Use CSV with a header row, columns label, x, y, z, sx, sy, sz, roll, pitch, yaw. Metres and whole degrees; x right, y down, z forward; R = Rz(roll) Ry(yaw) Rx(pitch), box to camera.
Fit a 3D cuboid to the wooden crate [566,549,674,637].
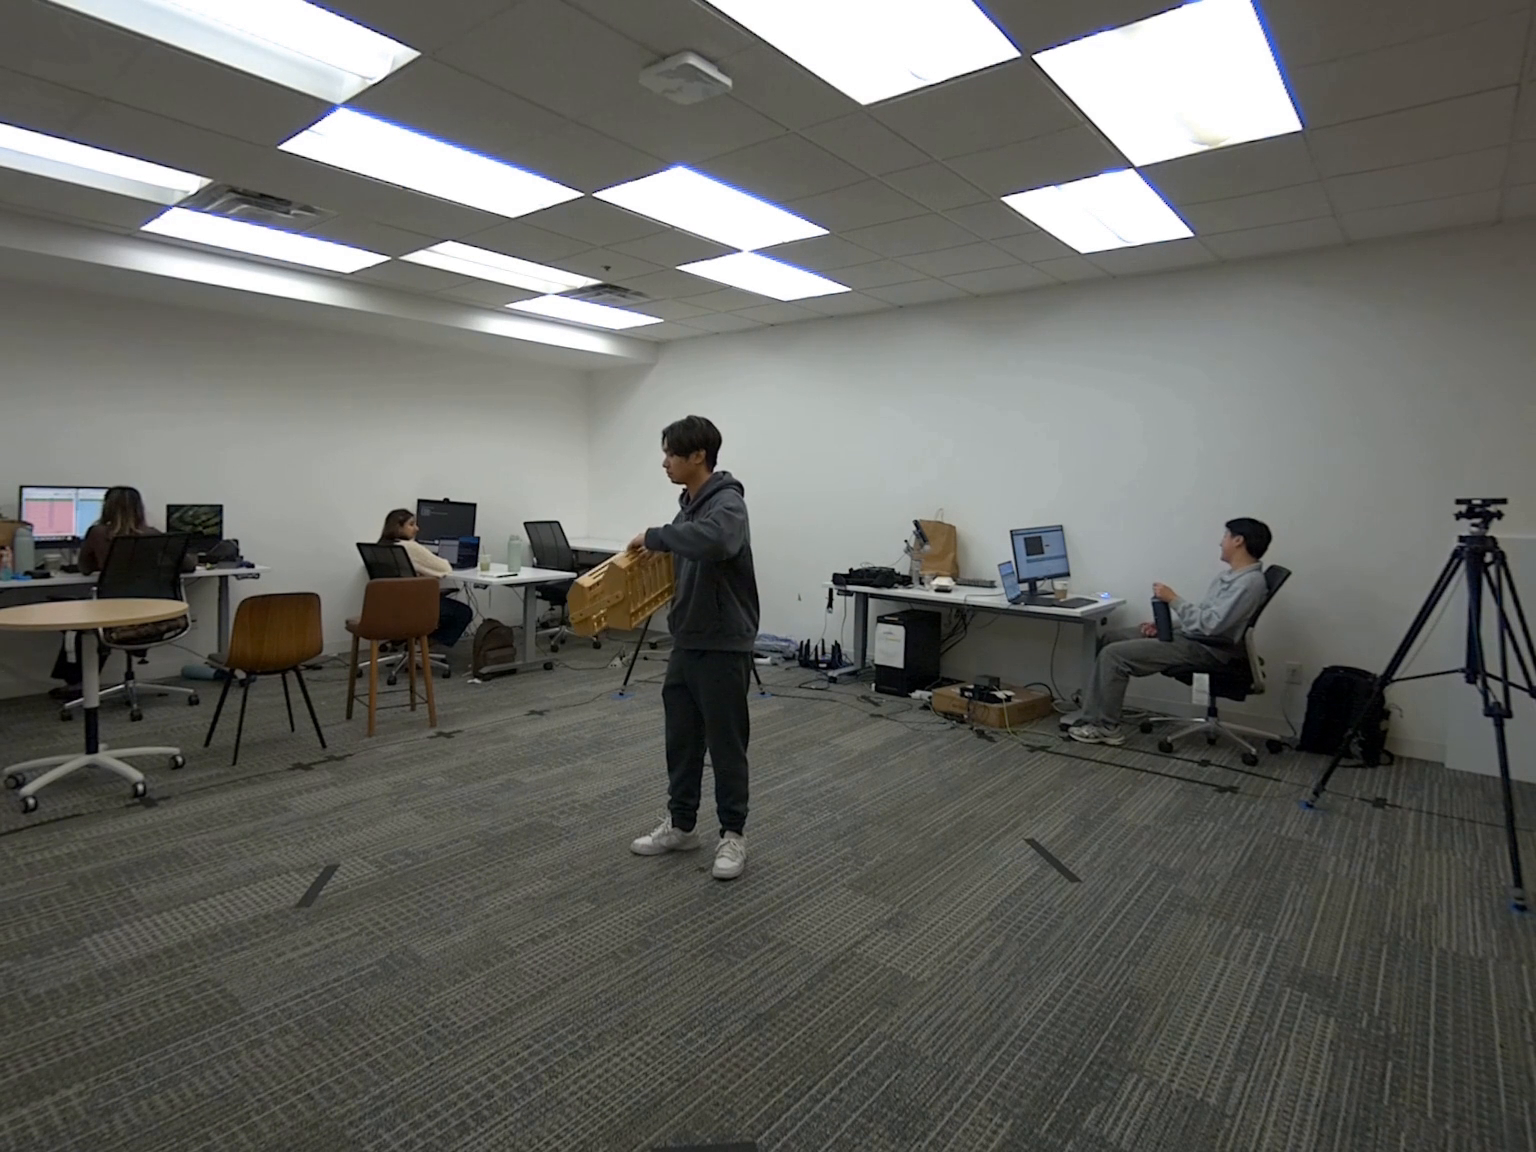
label,x,y,z,sx,sy,sz,roll,pitch,yaw
wooden crate,-0.547,0.020,3.053,0.281,0.296,0.322,6,23,26
